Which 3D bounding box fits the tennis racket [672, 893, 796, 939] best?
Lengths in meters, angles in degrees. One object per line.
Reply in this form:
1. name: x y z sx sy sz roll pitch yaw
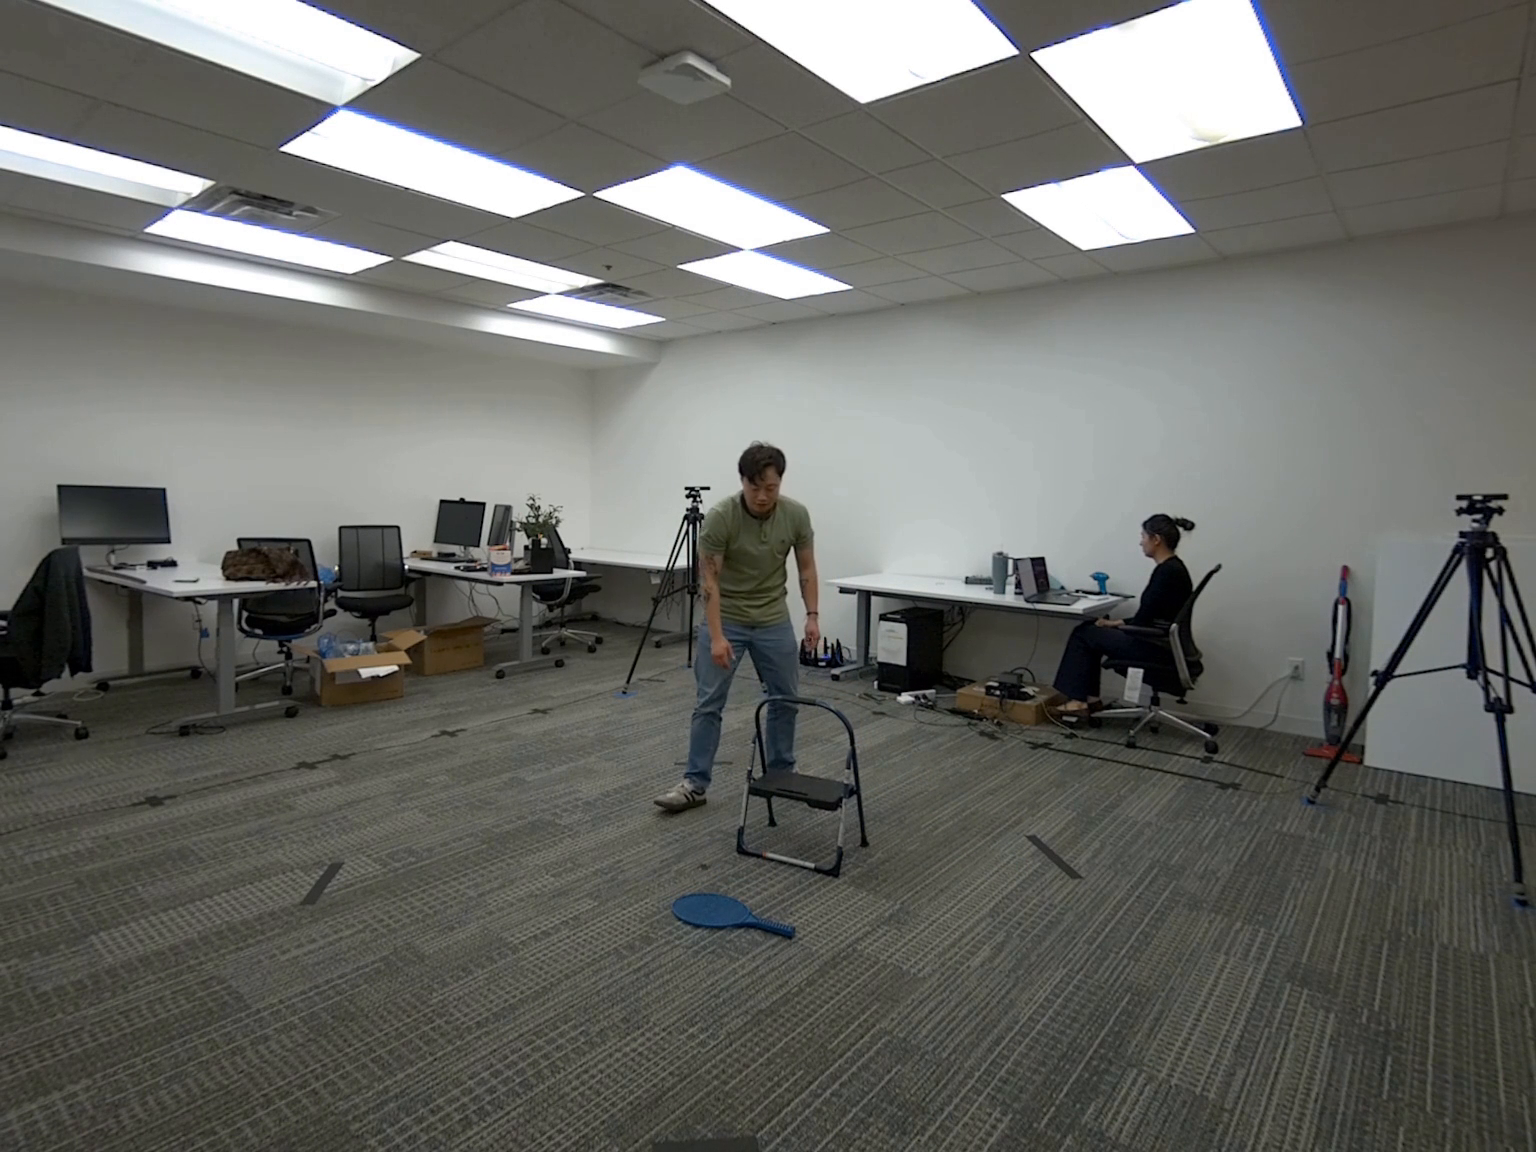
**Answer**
1. tennis racket: -0.129 1.087 2.736 0.445 0.031 0.208 3 6 30
